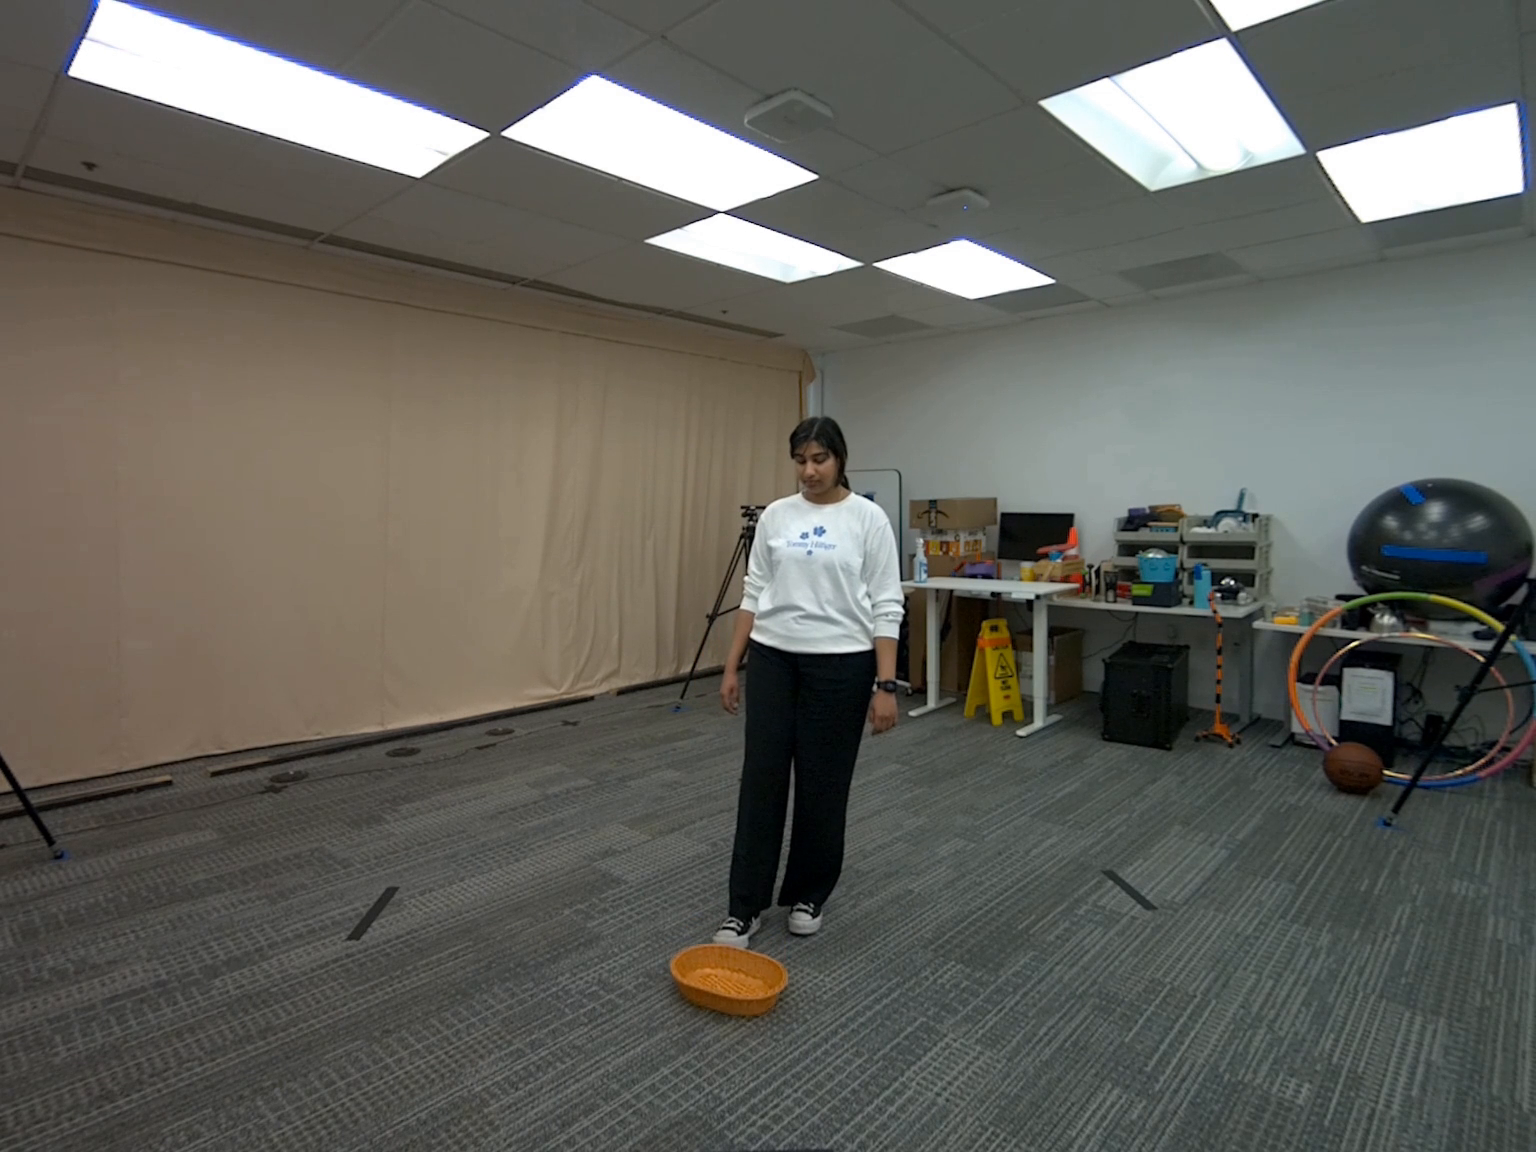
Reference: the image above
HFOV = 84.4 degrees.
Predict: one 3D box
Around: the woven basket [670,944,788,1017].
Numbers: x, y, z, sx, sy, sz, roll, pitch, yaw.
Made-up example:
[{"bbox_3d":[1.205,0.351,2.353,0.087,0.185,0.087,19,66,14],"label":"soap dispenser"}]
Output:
[{"bbox_3d":[-0.104,1.151,2.408,0.360,0.073,0.246,2,5,27],"label":"woven basket"}]
